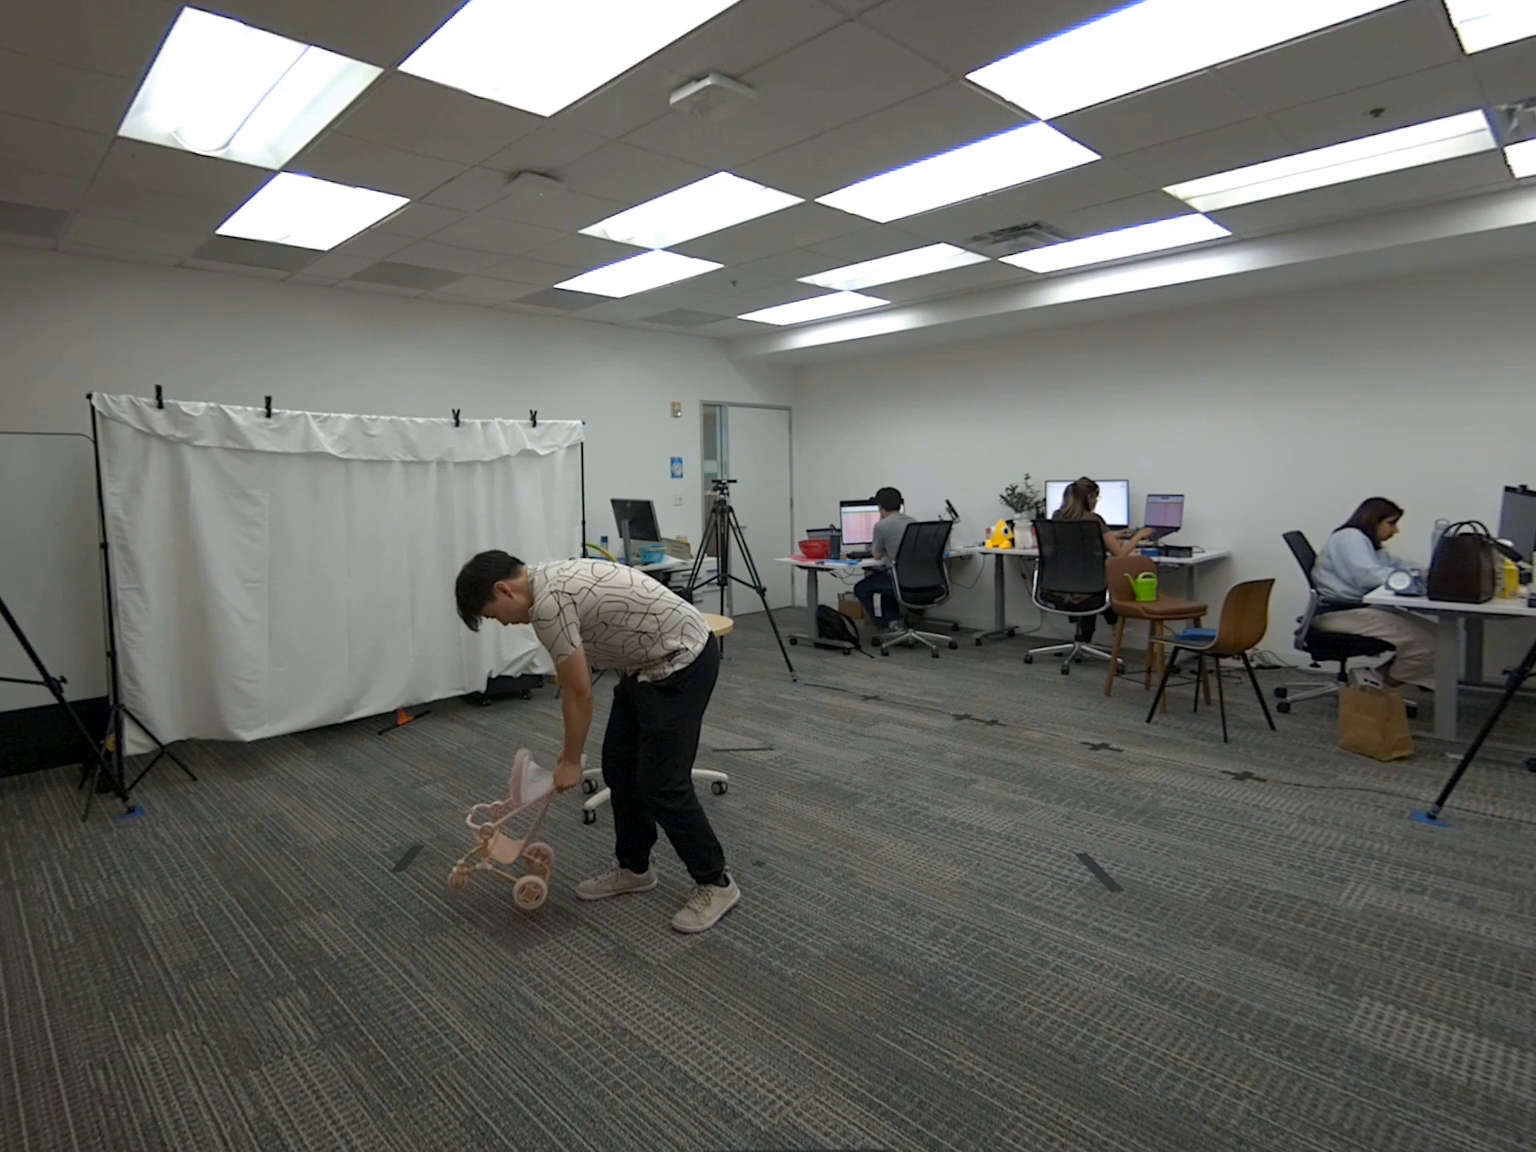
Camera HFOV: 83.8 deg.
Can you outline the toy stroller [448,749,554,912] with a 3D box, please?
[{"bbox_3d":[-0.833,0.817,2.823,0.340,0.534,0.283,17,2,-3],"label":"toy stroller"}]
